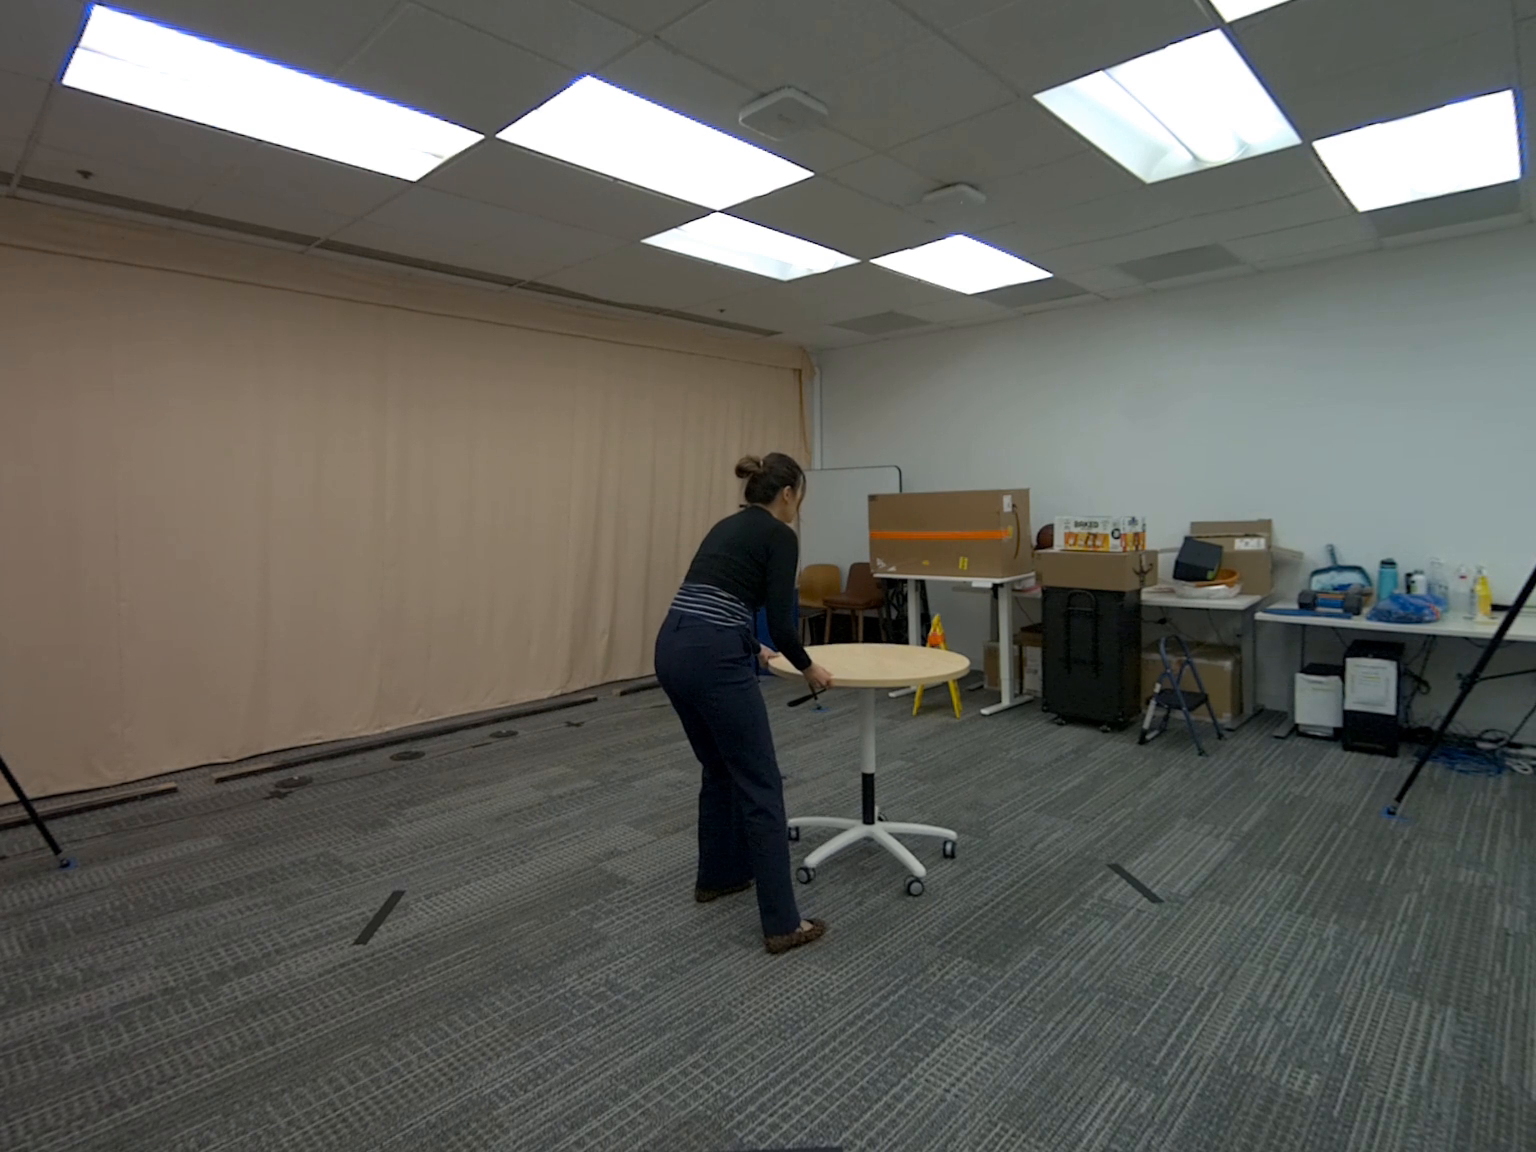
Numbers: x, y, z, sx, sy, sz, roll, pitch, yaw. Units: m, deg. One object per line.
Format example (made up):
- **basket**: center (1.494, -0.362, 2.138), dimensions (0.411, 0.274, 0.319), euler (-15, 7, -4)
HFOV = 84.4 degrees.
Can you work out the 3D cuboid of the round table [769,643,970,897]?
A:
- **round table**: center (0.387, 0.718, 3.276), dimensions (0.763, 0.792, 0.766), euler (-1, 3, -2)
